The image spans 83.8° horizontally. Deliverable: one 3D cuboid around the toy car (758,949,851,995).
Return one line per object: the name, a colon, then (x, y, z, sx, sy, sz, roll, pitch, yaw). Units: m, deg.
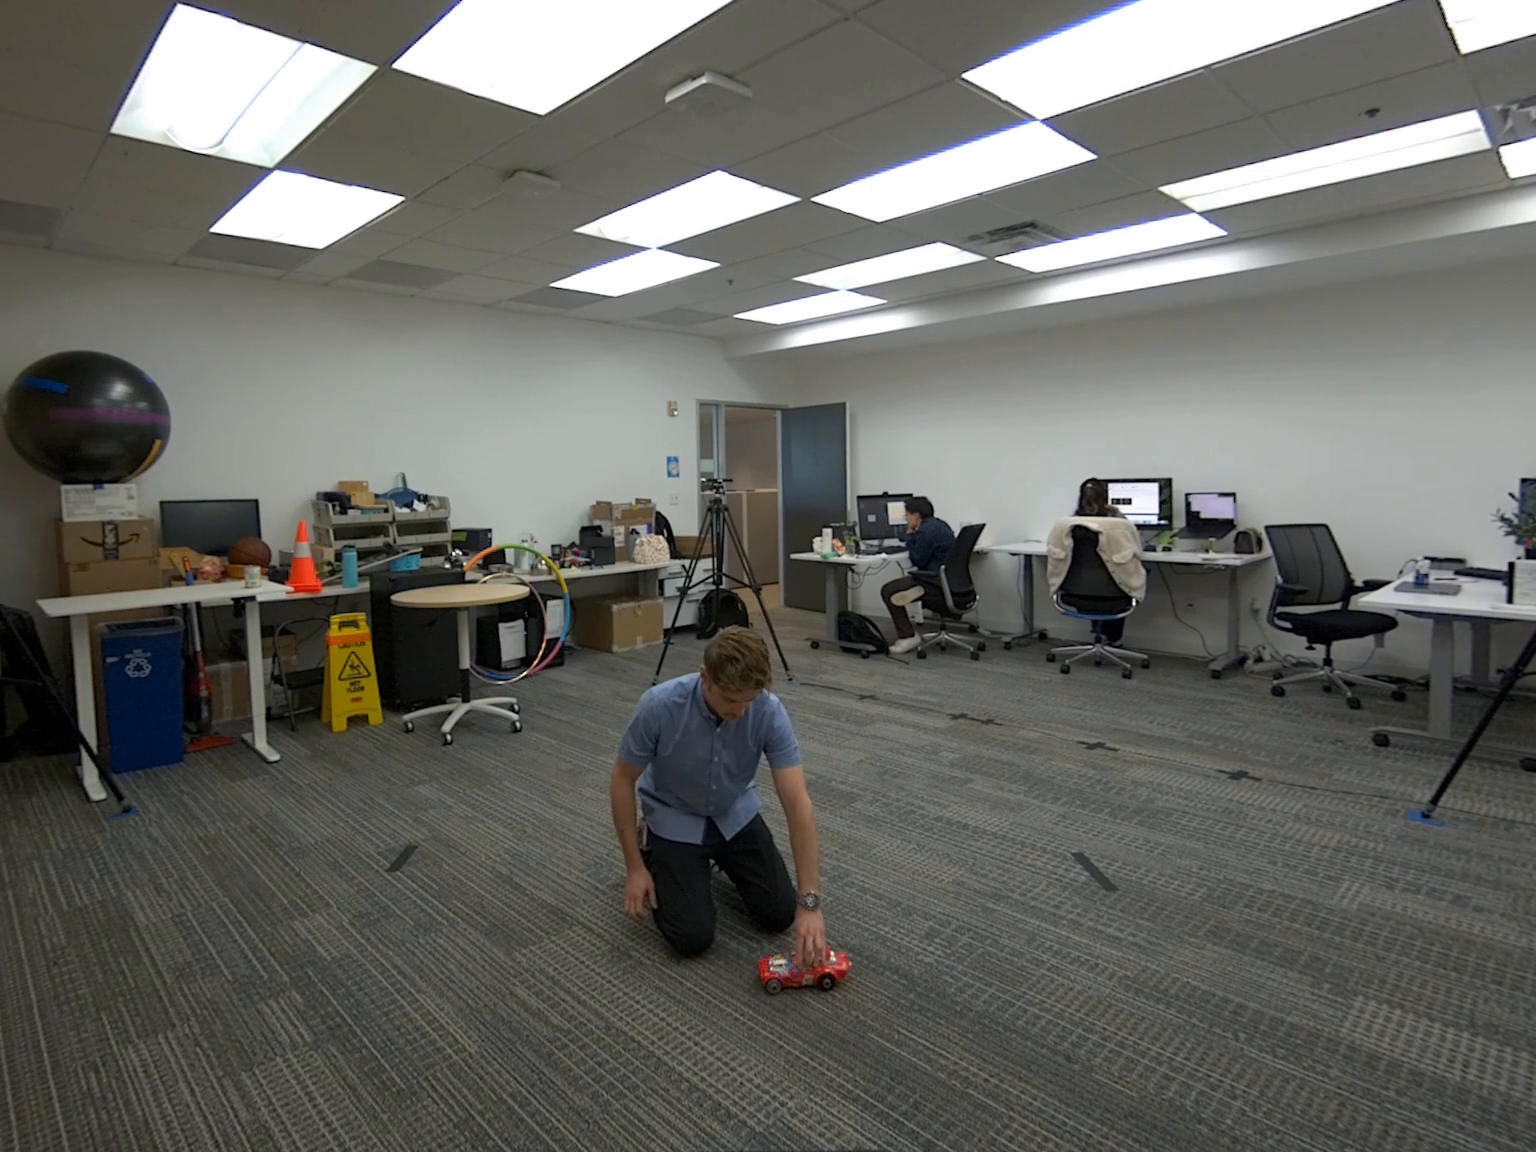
toy car: (0.107, 1.096, 2.370, 0.254, 0.083, 0.131, -11, 7, 0)
